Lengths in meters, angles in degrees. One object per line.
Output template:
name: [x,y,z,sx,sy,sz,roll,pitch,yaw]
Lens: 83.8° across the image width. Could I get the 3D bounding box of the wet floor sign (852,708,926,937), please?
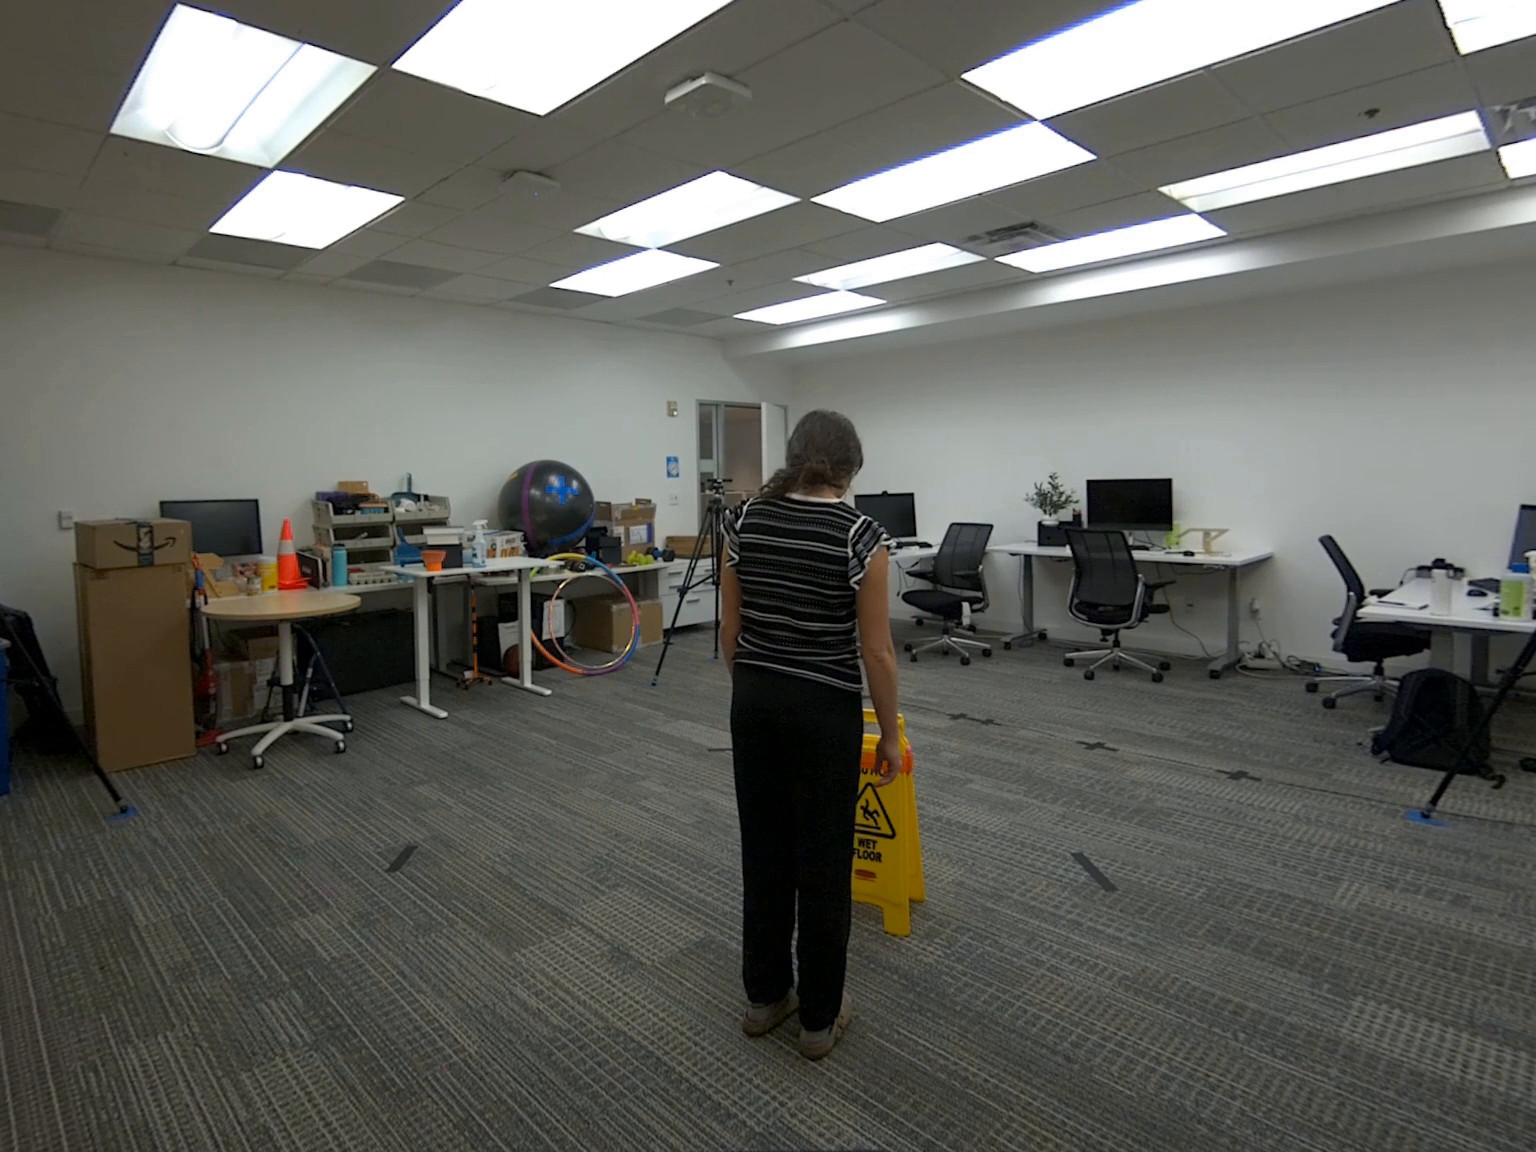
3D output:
wet floor sign: [0.342,0.758,2.734,0.288,0.644,0.285,0,4,23]
